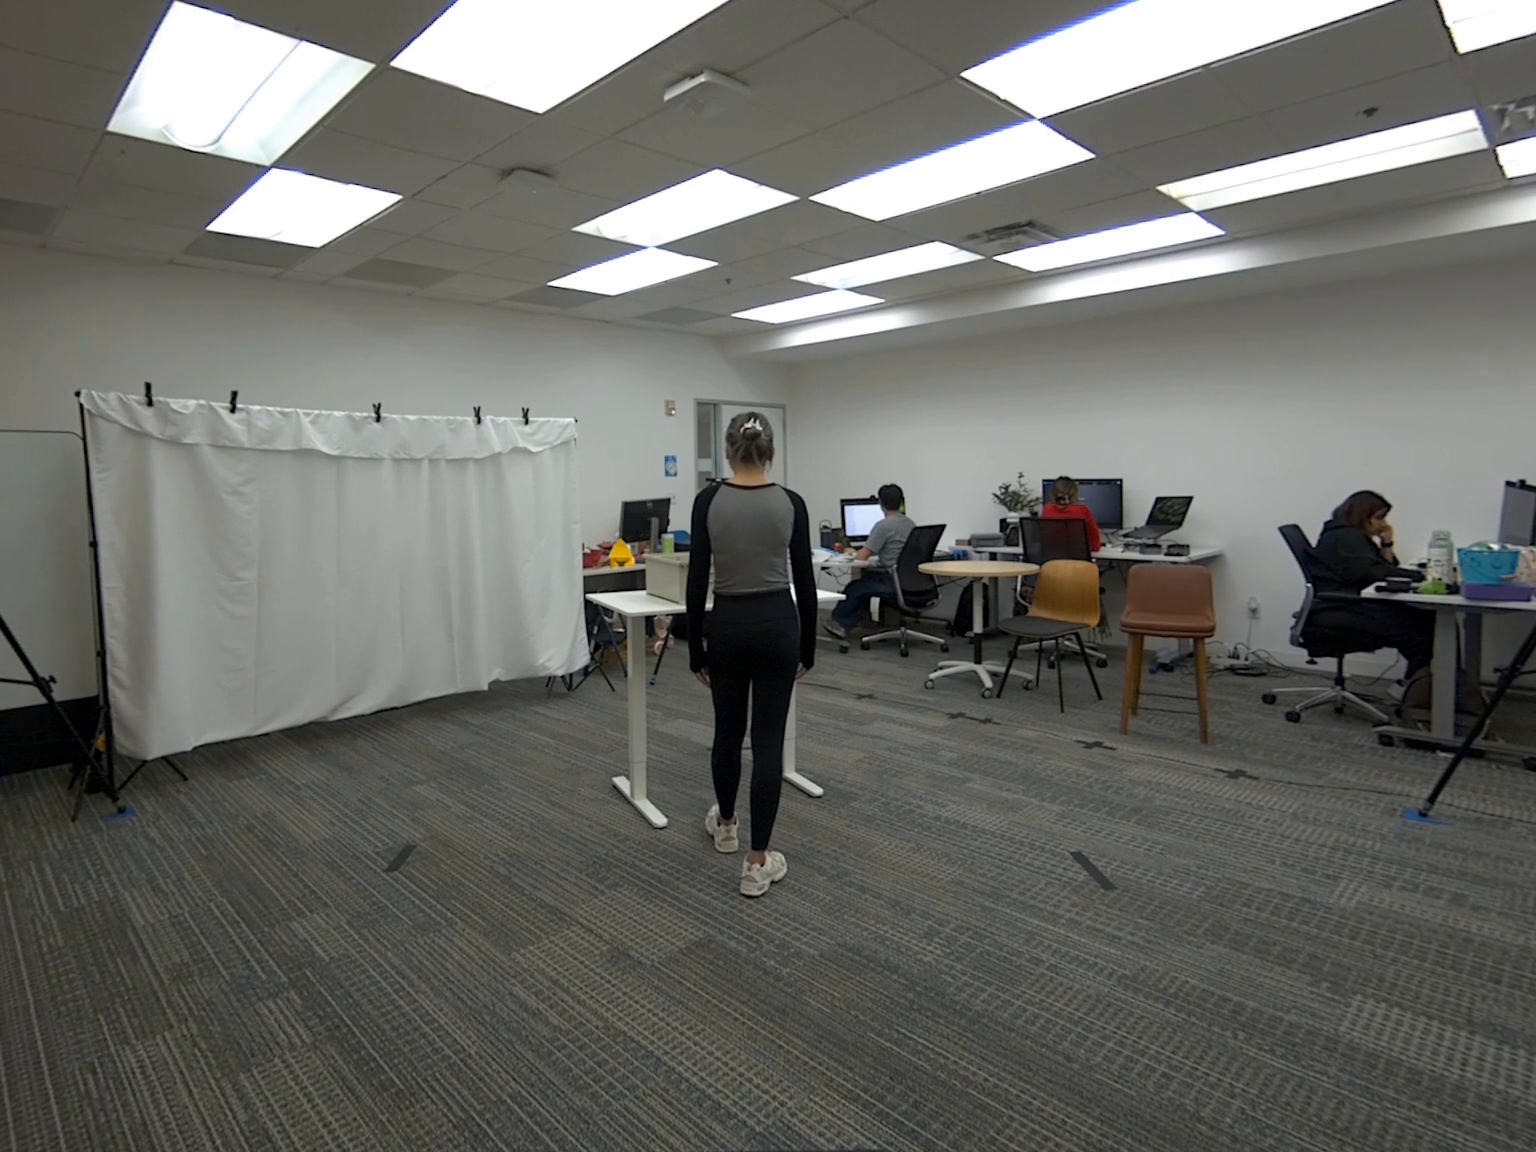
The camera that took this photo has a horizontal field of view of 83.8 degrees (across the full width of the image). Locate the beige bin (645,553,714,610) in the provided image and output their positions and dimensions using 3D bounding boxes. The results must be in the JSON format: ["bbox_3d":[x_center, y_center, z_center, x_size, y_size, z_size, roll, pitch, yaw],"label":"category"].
[{"bbox_3d":[-0.290,0.008,3.743,0.368,0.188,0.435,-5,8,-31],"label":"beige bin"}]
